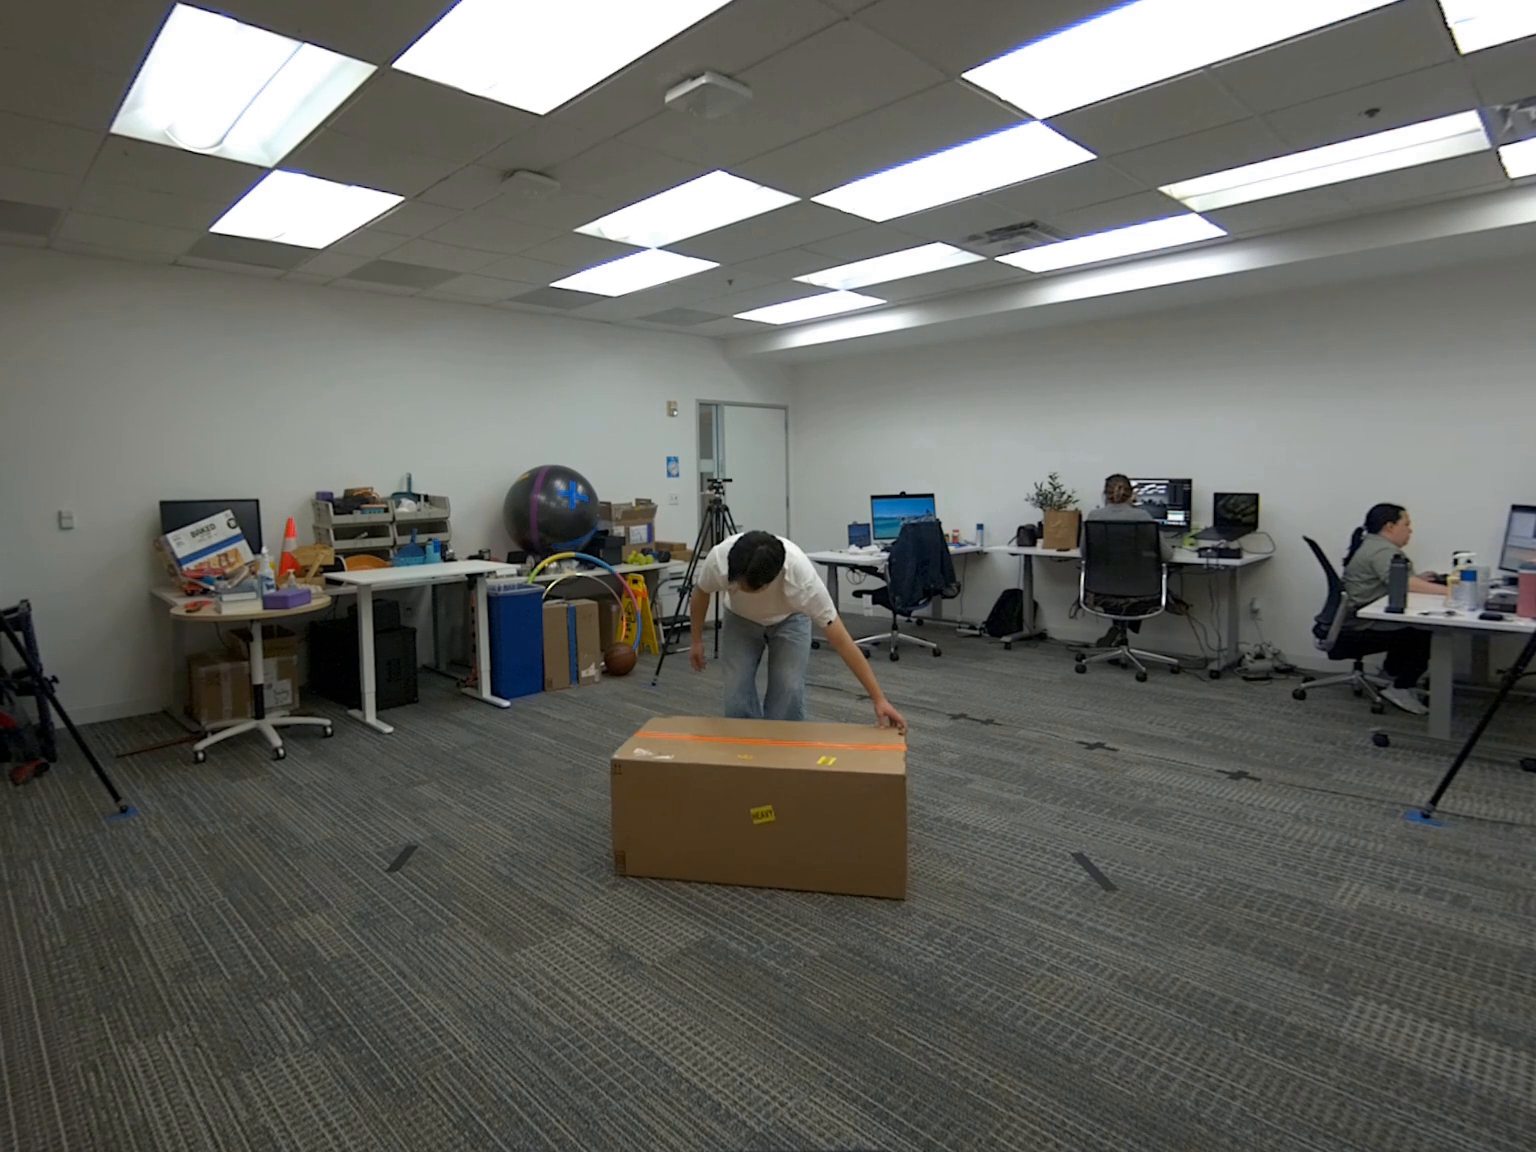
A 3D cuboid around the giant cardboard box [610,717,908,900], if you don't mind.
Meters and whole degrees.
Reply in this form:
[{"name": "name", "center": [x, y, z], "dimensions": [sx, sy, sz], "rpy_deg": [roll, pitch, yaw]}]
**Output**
[{"name": "giant cardboard box", "center": [-0.005, 0.817, 3.184], "dimensions": [1.038, 0.424, 0.573], "rpy_deg": [0, 6, 11]}]
